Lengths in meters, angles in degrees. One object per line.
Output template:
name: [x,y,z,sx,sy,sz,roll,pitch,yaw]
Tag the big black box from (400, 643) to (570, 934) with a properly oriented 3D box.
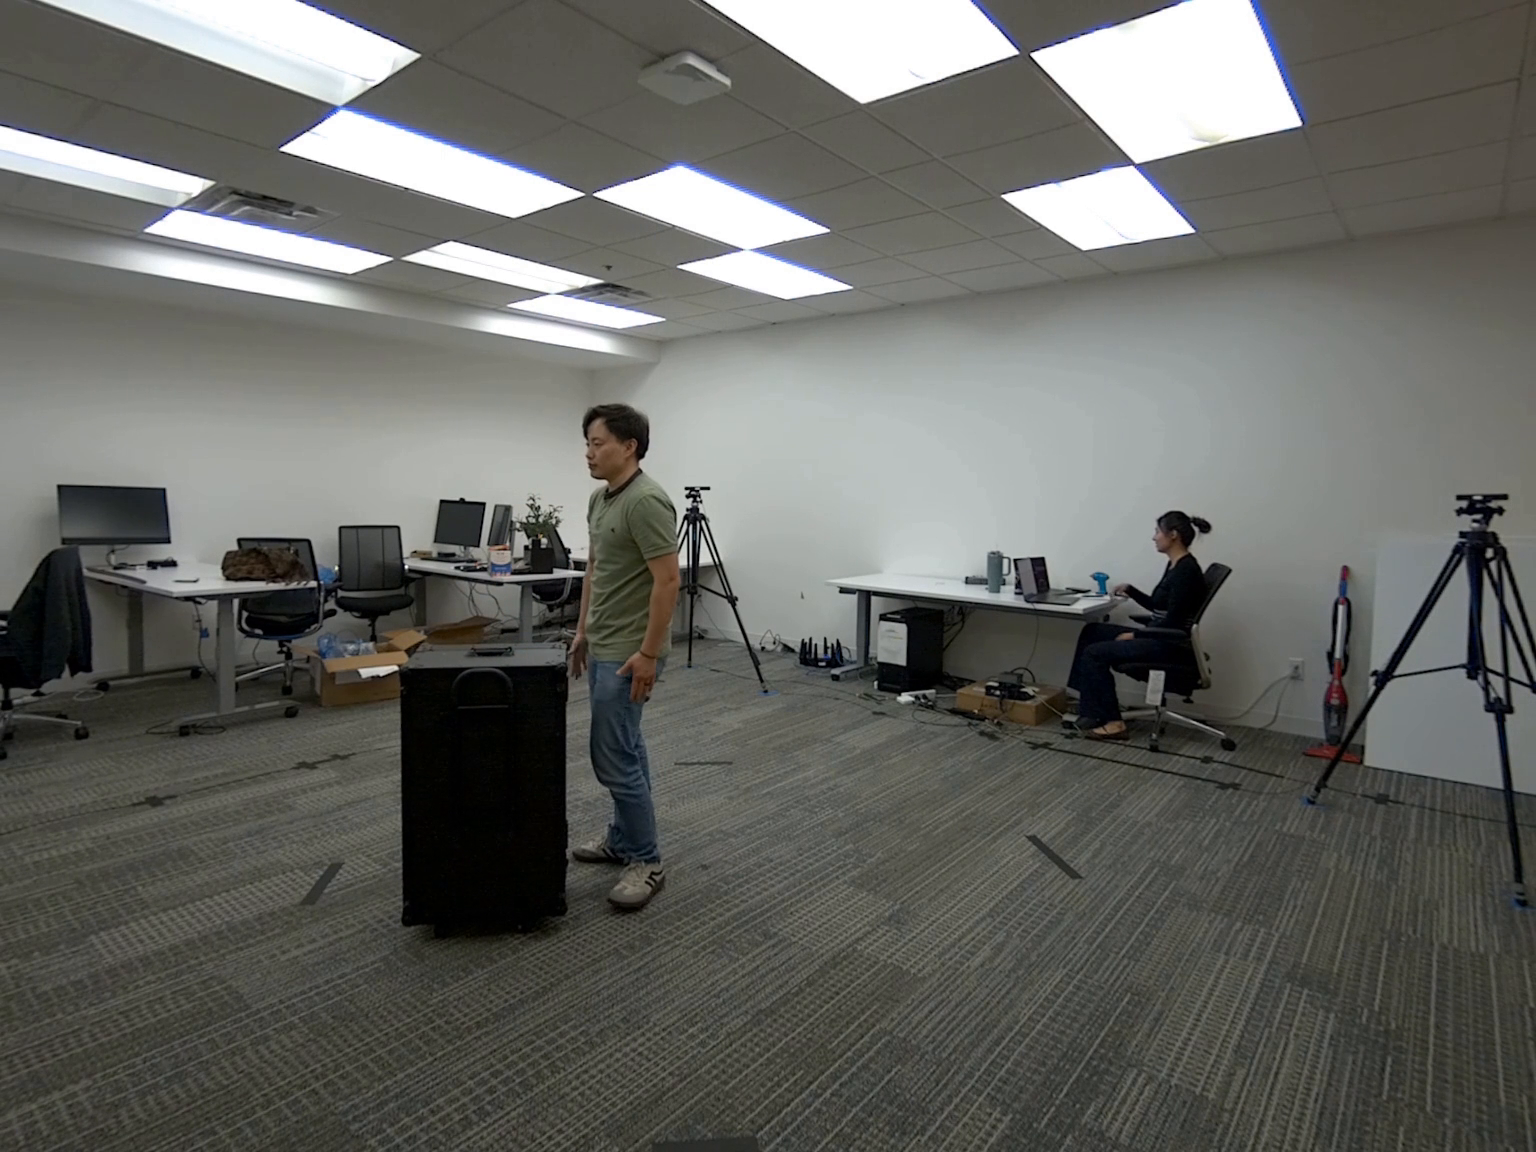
big black box: [-0.897,0.670,2.715,0.516,0.858,0.402,0,5,-10]
